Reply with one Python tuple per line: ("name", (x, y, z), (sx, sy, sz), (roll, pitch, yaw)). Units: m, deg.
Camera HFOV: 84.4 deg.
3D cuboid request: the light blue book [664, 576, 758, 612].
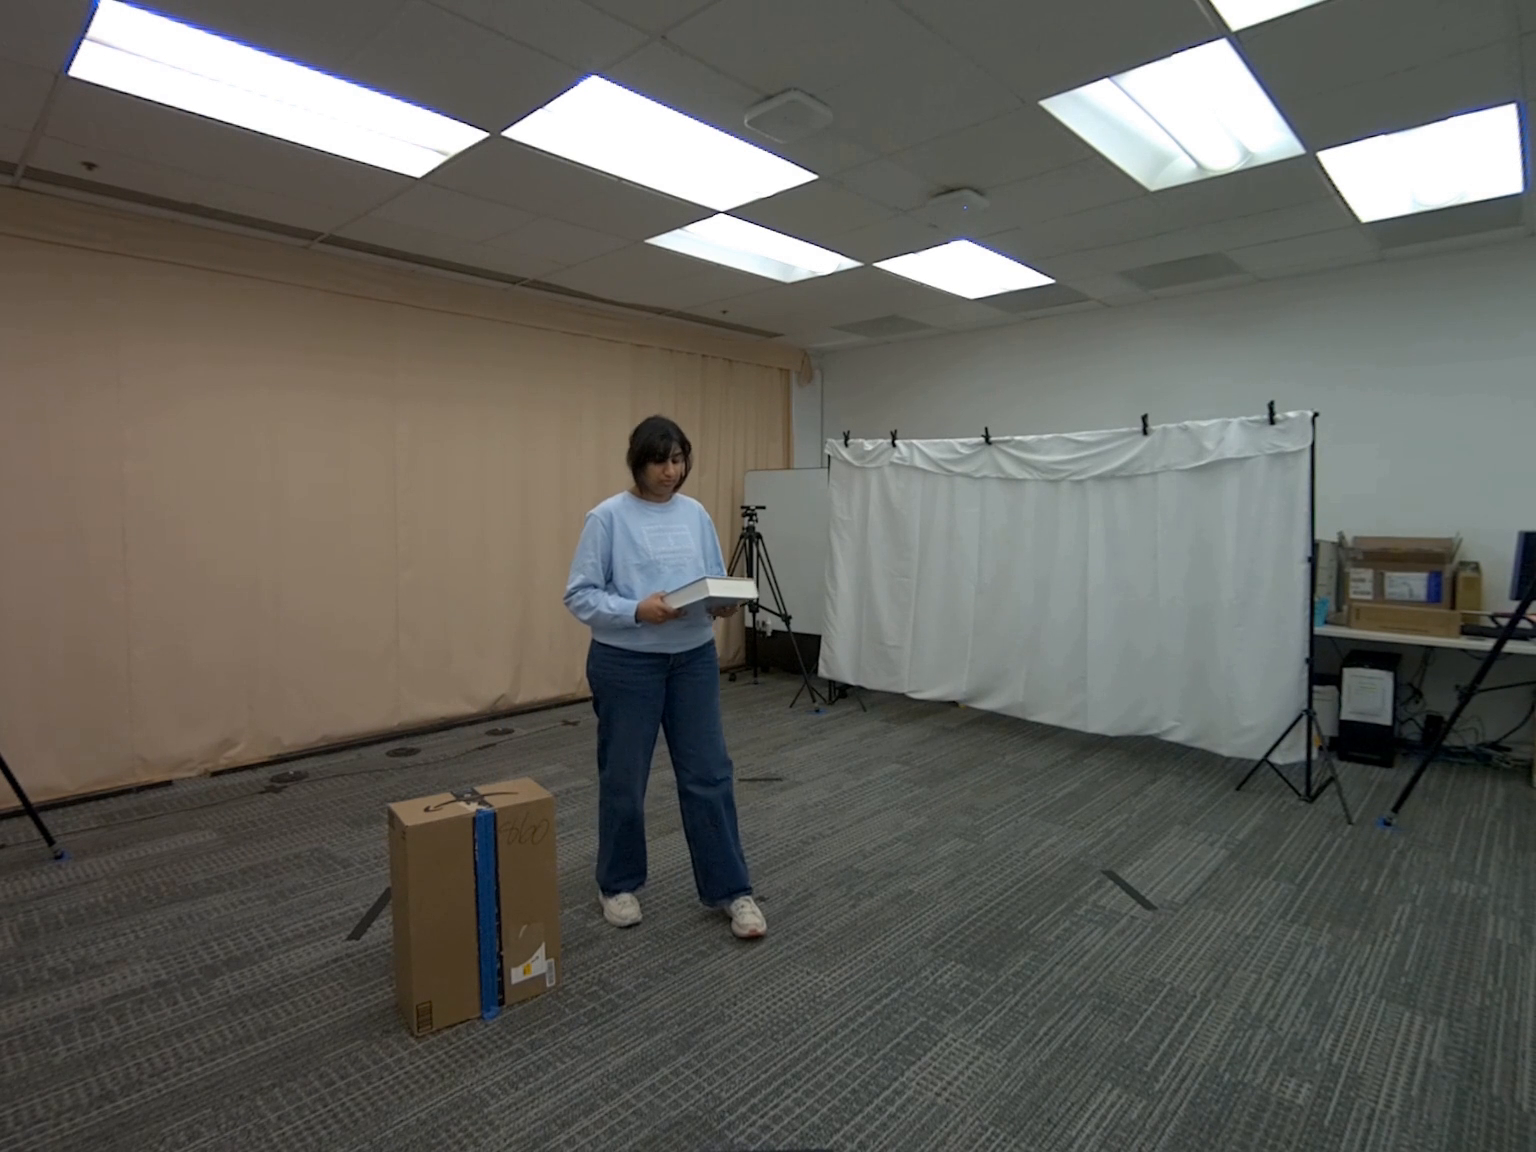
("light blue book", (-0.195, 0.061, 2.573), (0.185, 0.059, 0.267), (3, -16, -39))
